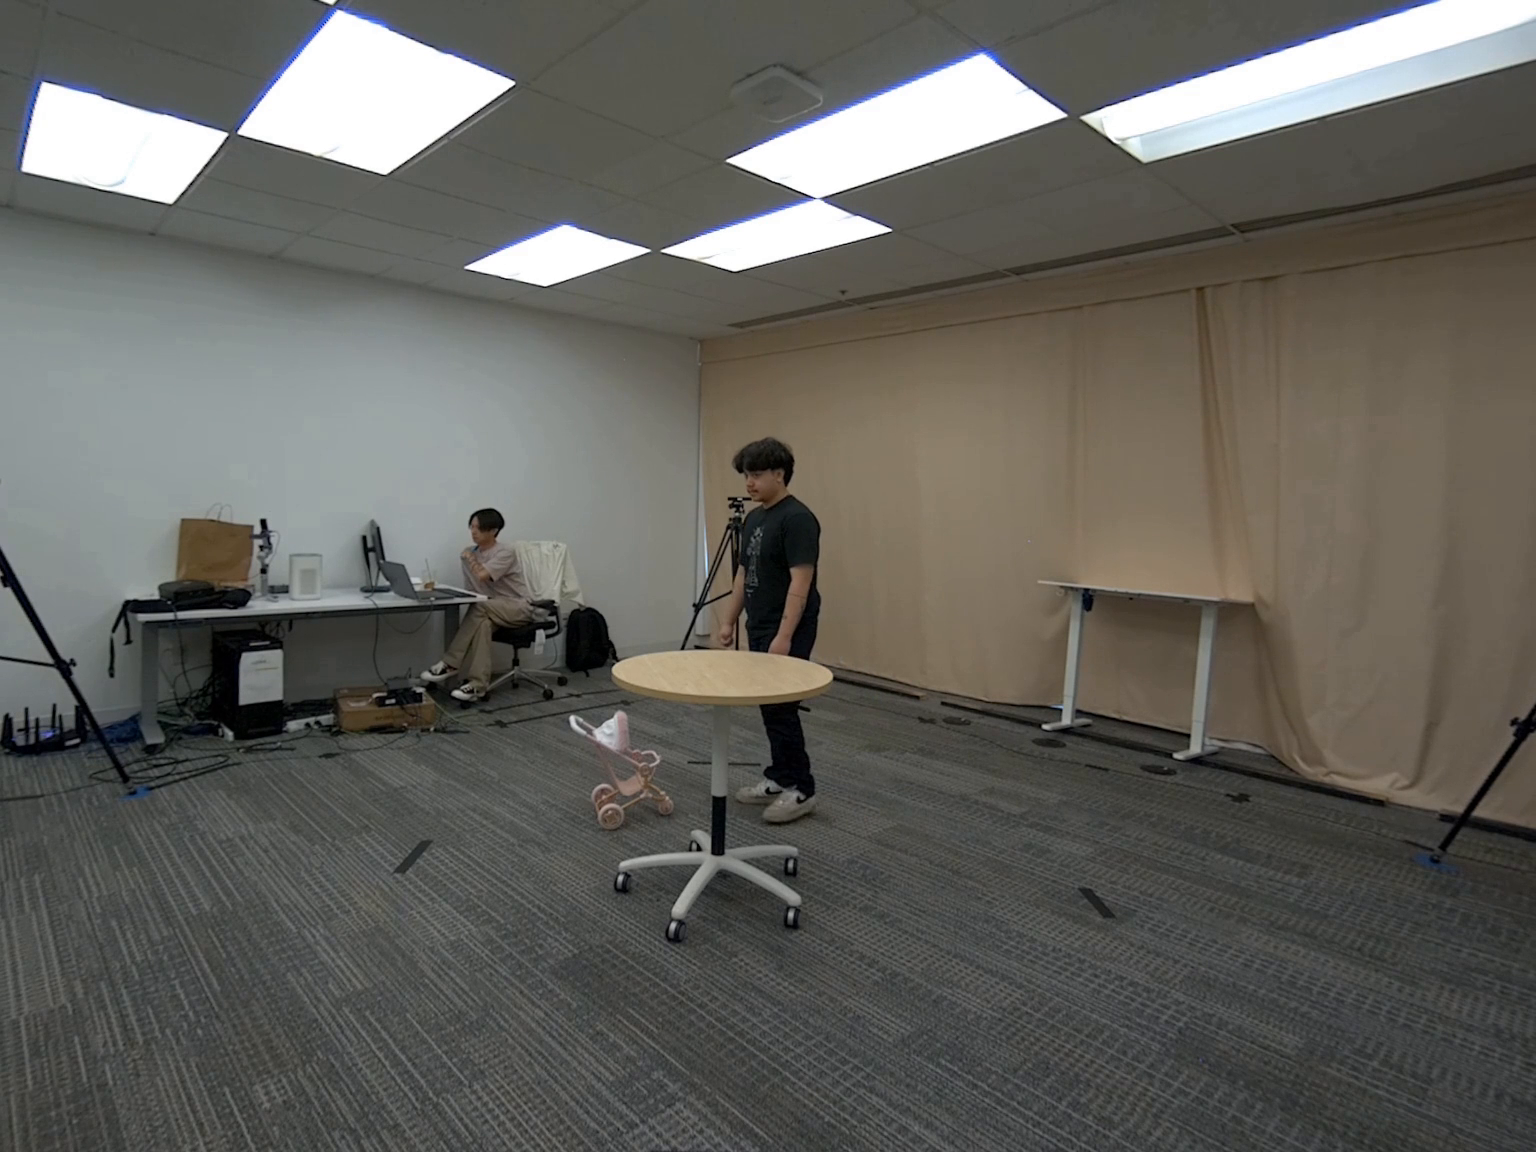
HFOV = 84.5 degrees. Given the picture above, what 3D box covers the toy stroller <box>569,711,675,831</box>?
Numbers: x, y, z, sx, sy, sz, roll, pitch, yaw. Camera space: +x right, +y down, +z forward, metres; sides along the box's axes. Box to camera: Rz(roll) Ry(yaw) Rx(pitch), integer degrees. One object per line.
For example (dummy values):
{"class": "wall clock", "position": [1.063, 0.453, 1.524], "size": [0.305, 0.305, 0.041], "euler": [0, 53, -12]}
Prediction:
{"class": "toy stroller", "position": [-0.633, 0.826, 3.640], "size": [0.339, 0.532, 0.285], "euler": [-14, 6, -11]}
